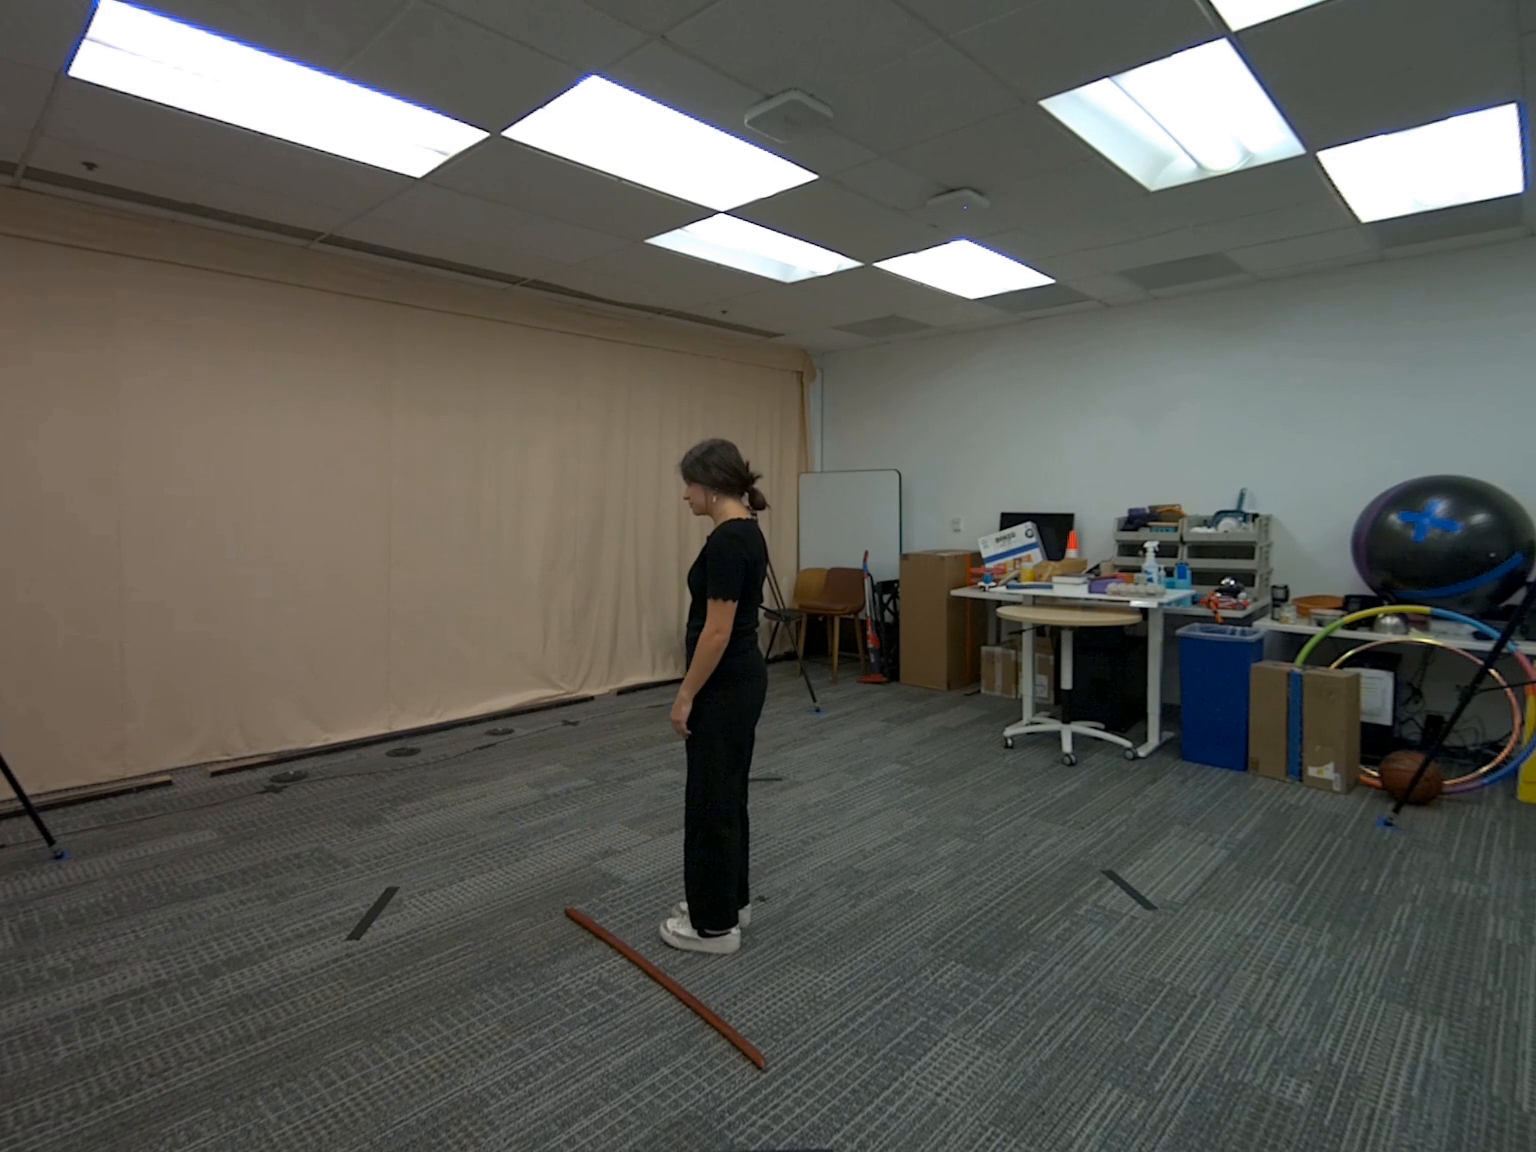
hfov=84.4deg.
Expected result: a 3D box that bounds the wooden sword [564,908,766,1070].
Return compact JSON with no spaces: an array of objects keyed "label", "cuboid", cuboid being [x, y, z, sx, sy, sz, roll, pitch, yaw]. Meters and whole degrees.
[{"label":"wooden sword","cuboid":[-0.330,1.169,2.485,0.050,0.024,1.058,-11,10,-39]}]
